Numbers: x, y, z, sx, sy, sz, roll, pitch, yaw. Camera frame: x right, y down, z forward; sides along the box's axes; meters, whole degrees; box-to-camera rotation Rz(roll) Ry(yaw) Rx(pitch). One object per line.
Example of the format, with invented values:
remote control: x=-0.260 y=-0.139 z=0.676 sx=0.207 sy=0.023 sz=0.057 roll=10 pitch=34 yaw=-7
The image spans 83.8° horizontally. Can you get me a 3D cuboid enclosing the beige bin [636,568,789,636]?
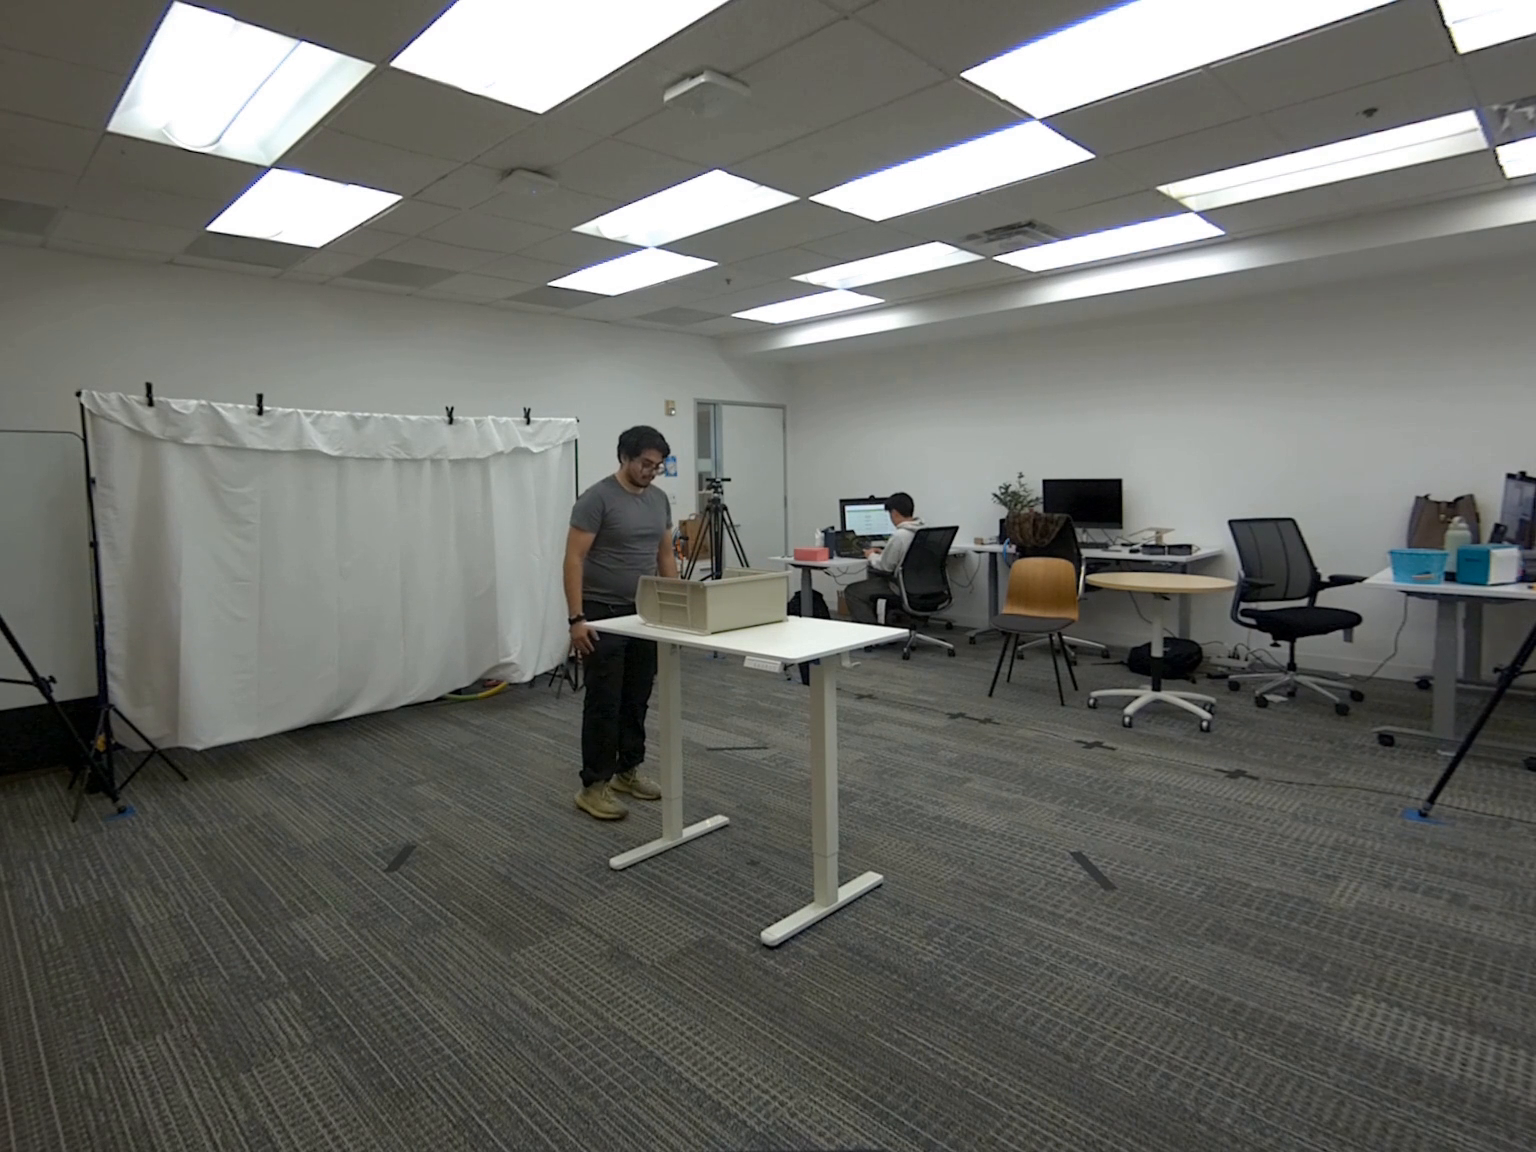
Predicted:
beige bin: x=-0.197 y=0.082 z=3.046 sx=0.411 sy=0.188 sz=0.389 roll=-6 pitch=9 yaw=-44
